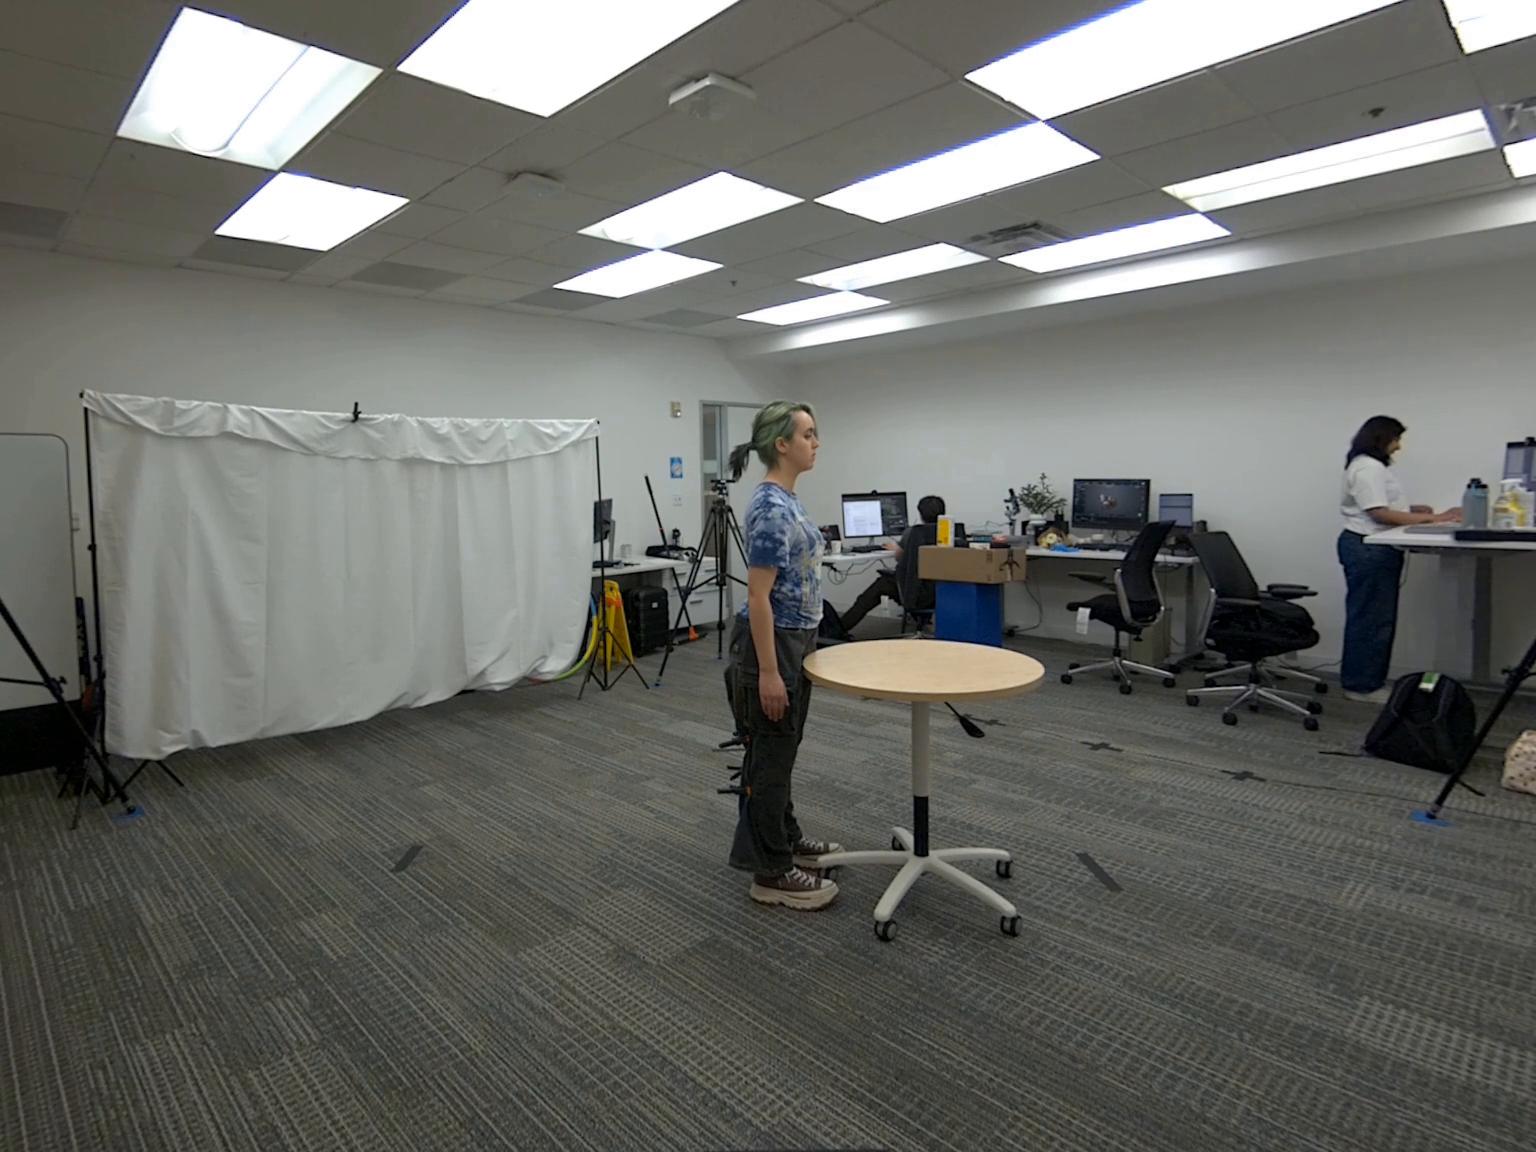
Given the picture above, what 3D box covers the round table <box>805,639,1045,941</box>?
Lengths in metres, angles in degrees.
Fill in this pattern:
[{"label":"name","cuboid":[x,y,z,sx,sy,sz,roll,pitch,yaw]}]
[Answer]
[{"label":"round table","cuboid":[0.496,0.674,2.816,0.784,0.783,0.789,-1,5,-2]}]
